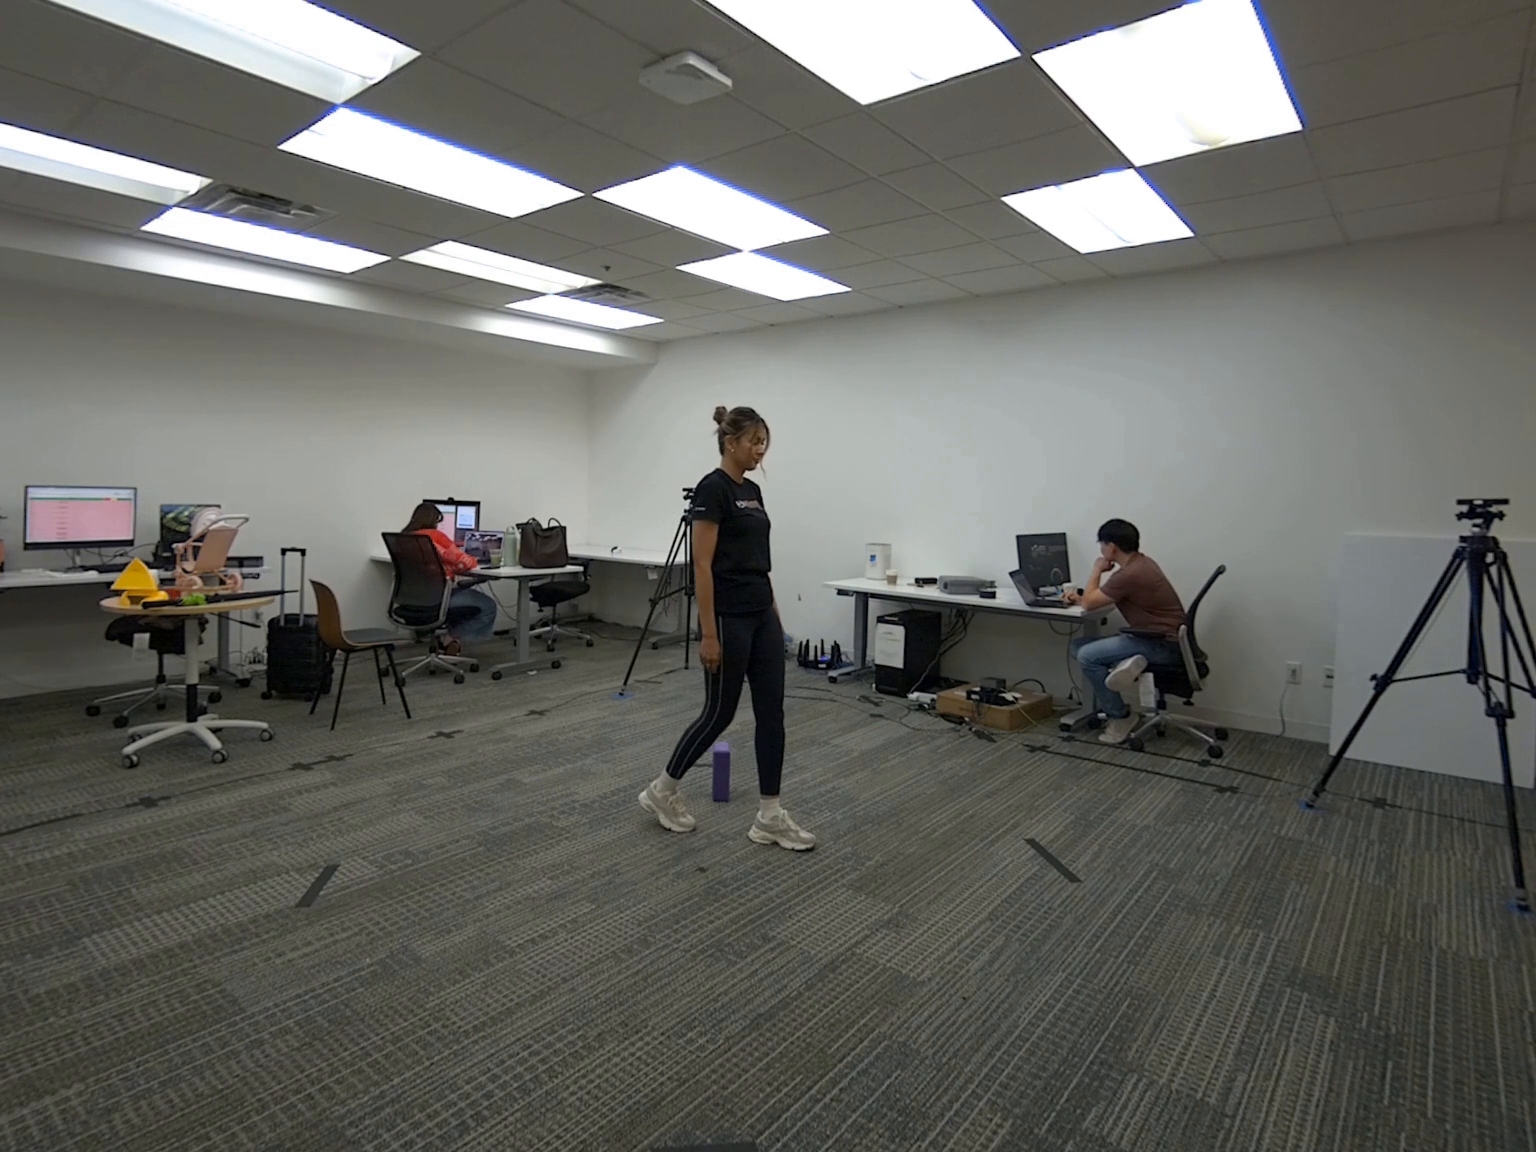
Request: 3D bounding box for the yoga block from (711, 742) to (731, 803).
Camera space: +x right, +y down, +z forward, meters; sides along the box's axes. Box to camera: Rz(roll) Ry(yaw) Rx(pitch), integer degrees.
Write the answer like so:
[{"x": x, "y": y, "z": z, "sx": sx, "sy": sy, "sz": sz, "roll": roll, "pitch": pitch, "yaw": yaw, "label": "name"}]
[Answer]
[{"x": -0.222, "y": 0.883, "z": 3.861, "sx": 0.076, "sy": 0.229, "sz": 0.149, "roll": 0, "pitch": 4, "yaw": 0, "label": "yoga block"}]
